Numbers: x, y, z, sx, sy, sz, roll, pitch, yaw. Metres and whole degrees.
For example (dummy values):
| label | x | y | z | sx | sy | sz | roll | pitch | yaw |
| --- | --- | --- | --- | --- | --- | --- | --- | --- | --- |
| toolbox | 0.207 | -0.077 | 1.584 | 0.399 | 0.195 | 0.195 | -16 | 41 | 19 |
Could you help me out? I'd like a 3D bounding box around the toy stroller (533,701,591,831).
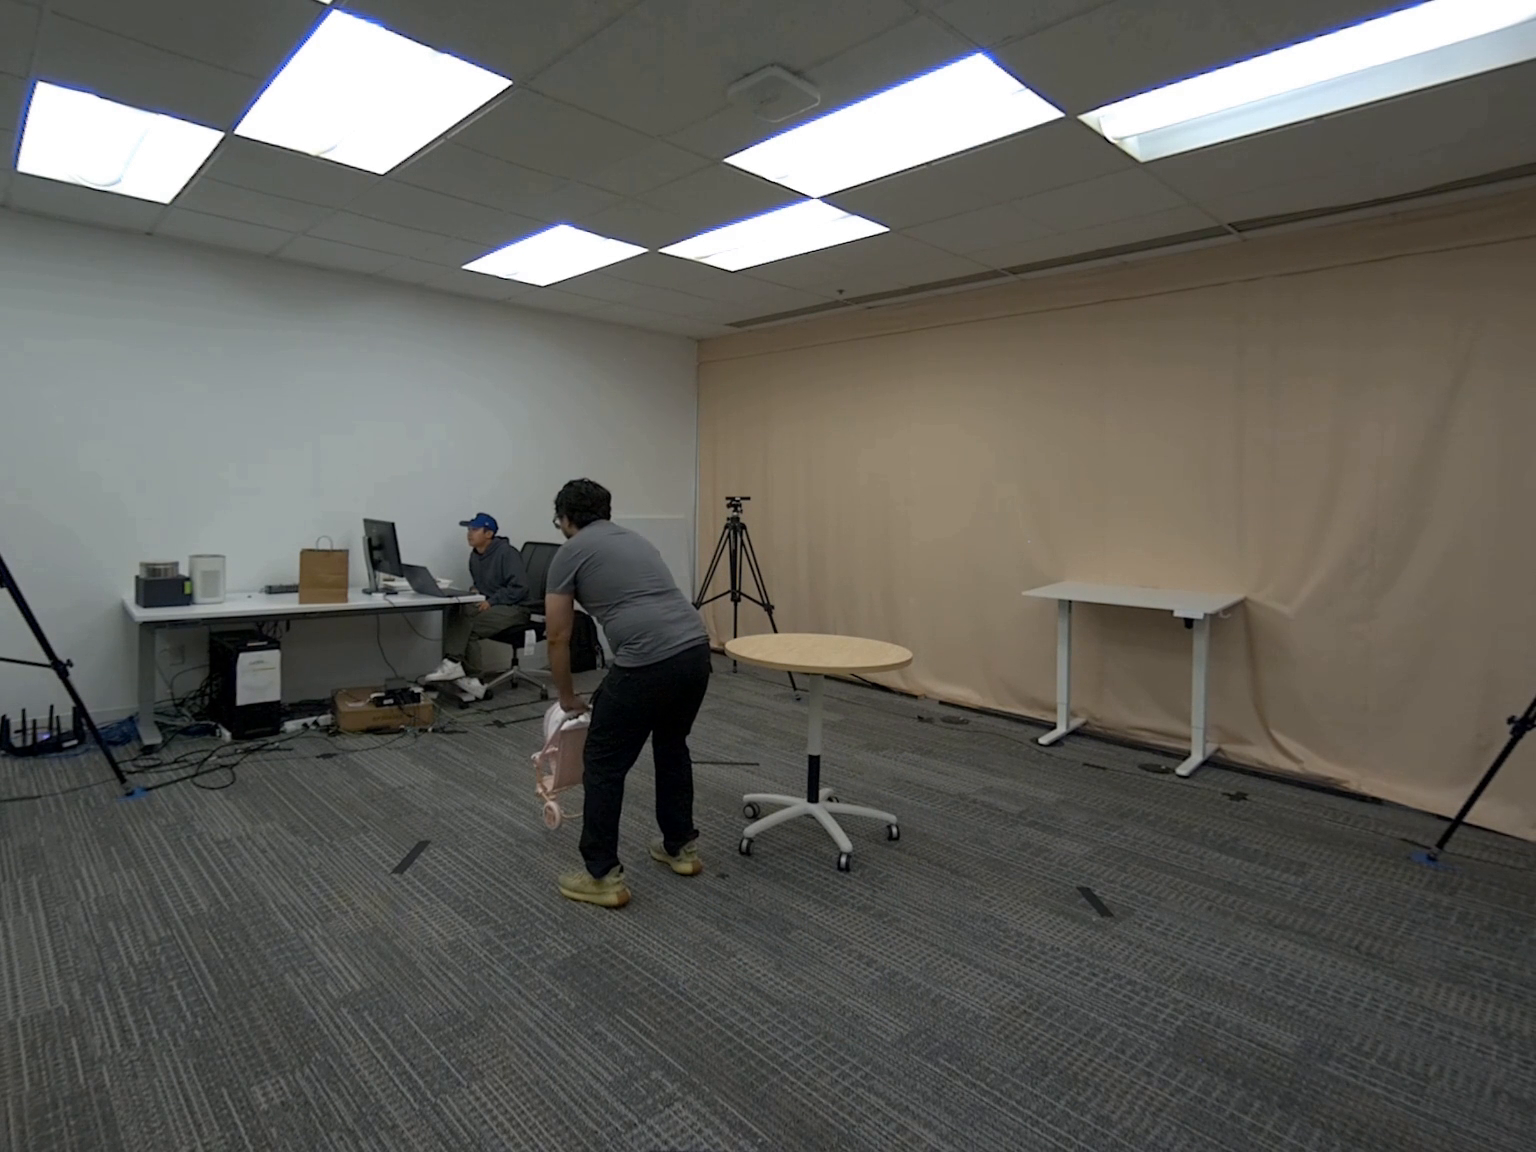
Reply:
| label | x | y | z | sx | sy | sz | roll | pitch | yaw |
| --- | --- | --- | --- | --- | --- | --- | --- | --- | --- |
| toy stroller | -0.795 | 0.741 | 3.346 | 0.275 | 0.532 | 0.351 | -2 | 10 | -38 |
